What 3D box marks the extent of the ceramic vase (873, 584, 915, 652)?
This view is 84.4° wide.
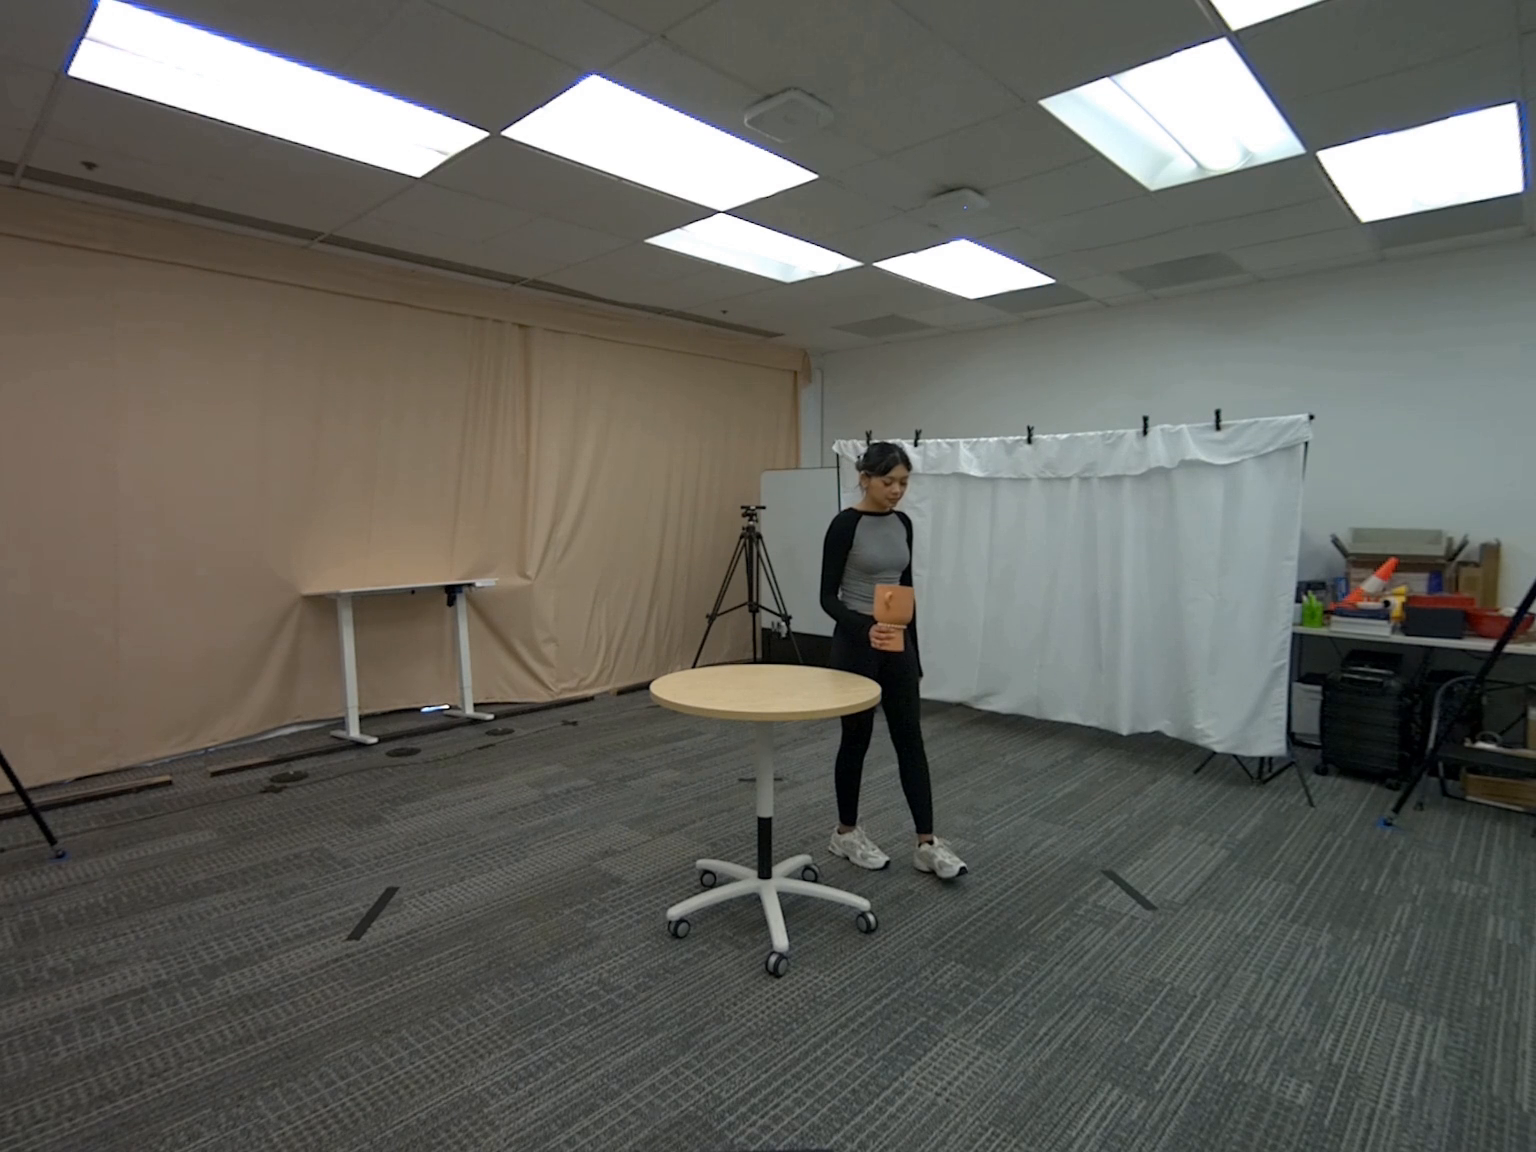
[{"bbox_3d":[0.423,0.143,2.896,0.155,0.220,0.138,5,0,-26],"label":"ceramic vase"}]
